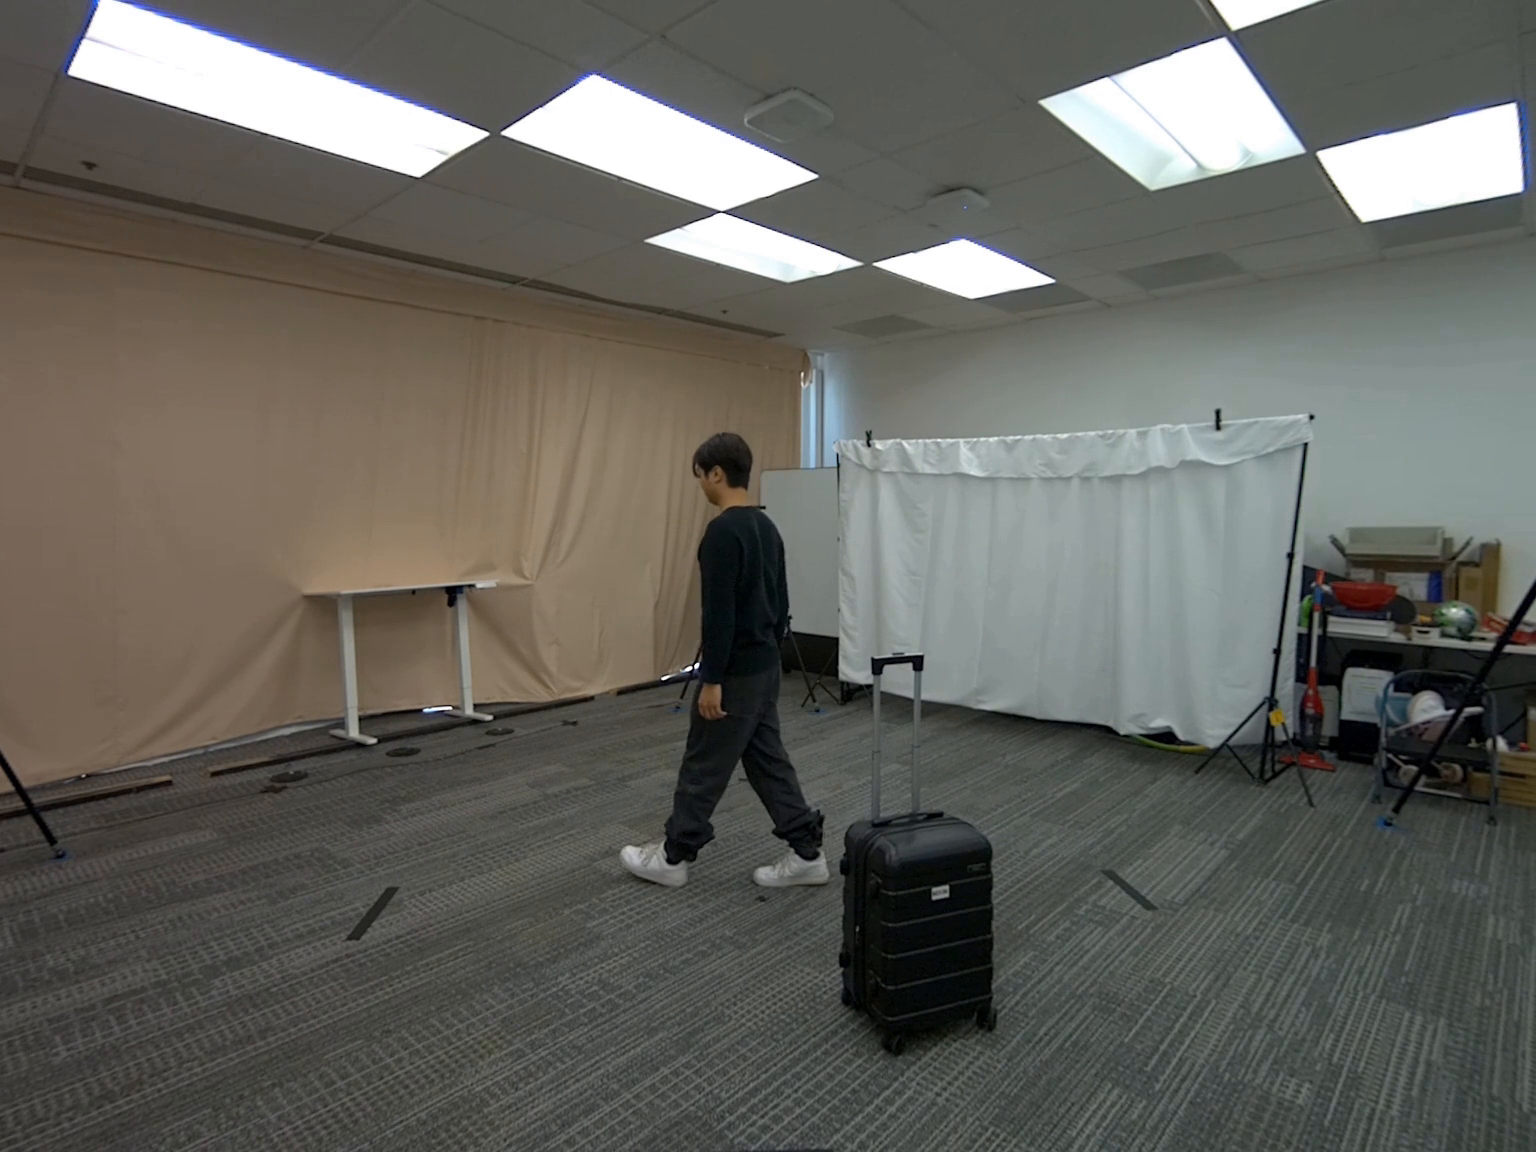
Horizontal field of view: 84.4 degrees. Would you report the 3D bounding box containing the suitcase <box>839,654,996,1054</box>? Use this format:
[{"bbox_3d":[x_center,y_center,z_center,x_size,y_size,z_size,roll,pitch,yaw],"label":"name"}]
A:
[{"bbox_3d":[0.413,0.728,2.249,0.377,0.975,0.263,-1,6,-19],"label":"suitcase"}]
